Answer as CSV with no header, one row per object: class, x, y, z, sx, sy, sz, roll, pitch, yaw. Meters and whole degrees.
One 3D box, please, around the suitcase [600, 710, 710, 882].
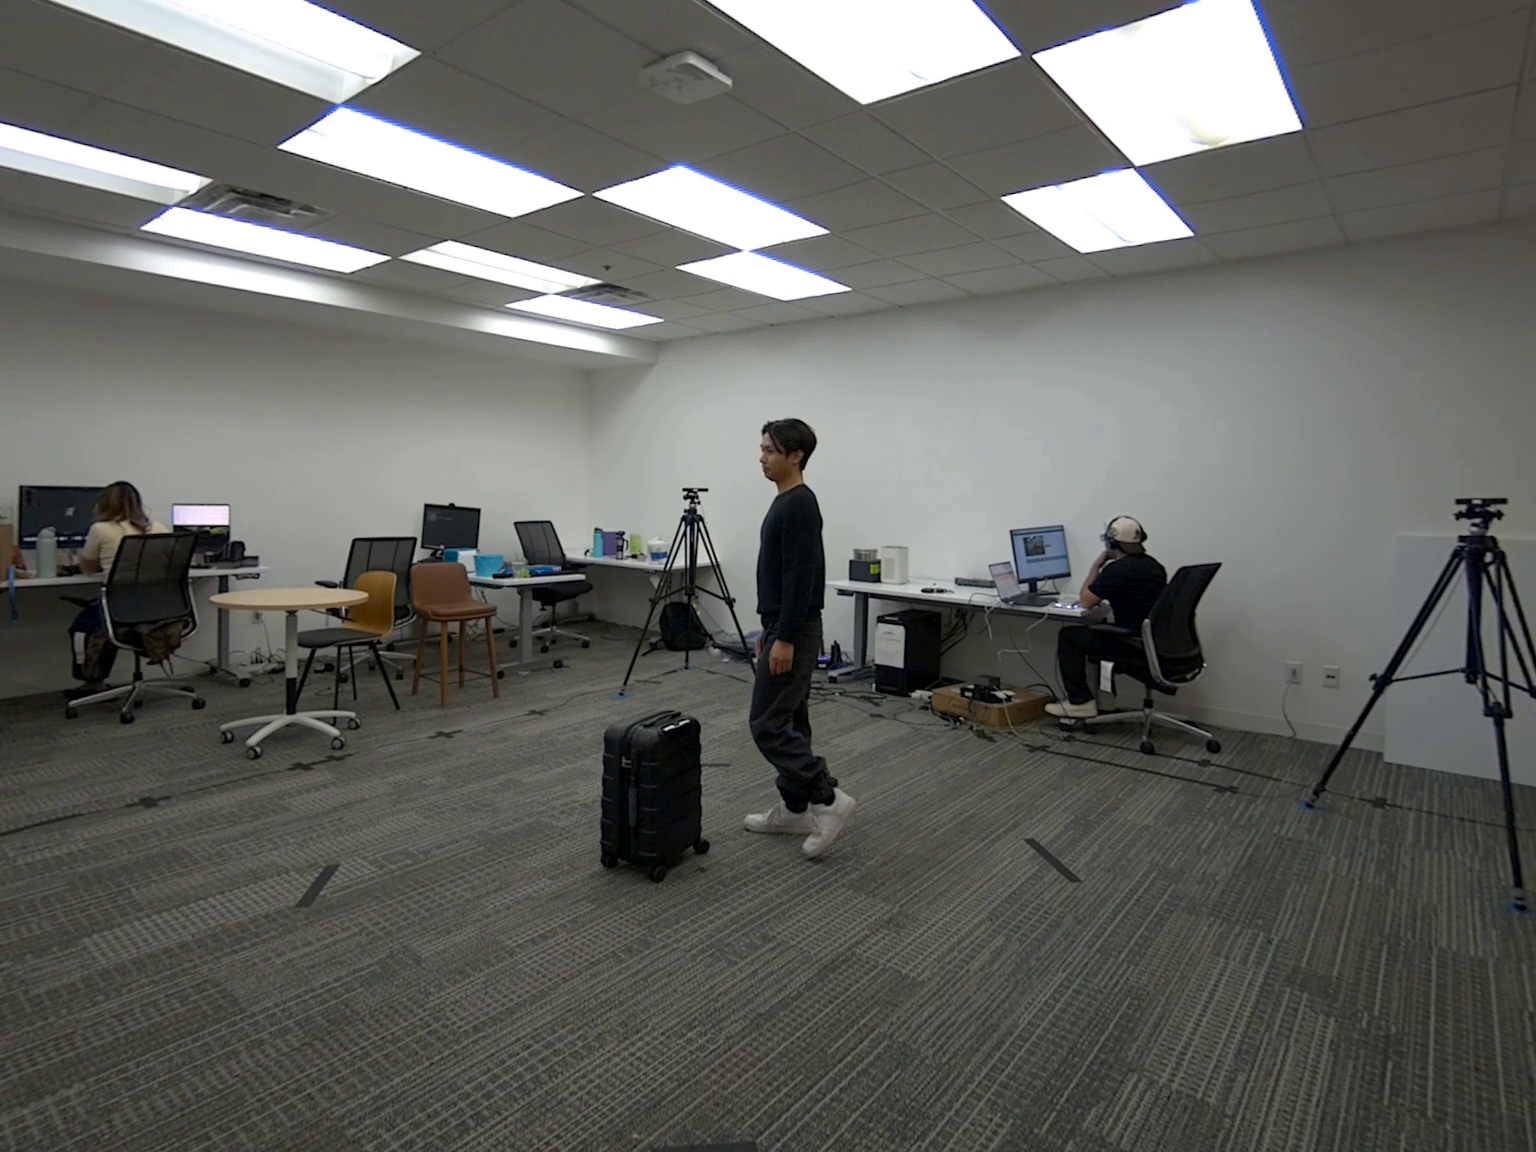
suitcase,-0.441,0.787,3.159,0.255,0.548,0.366,2,4,29
